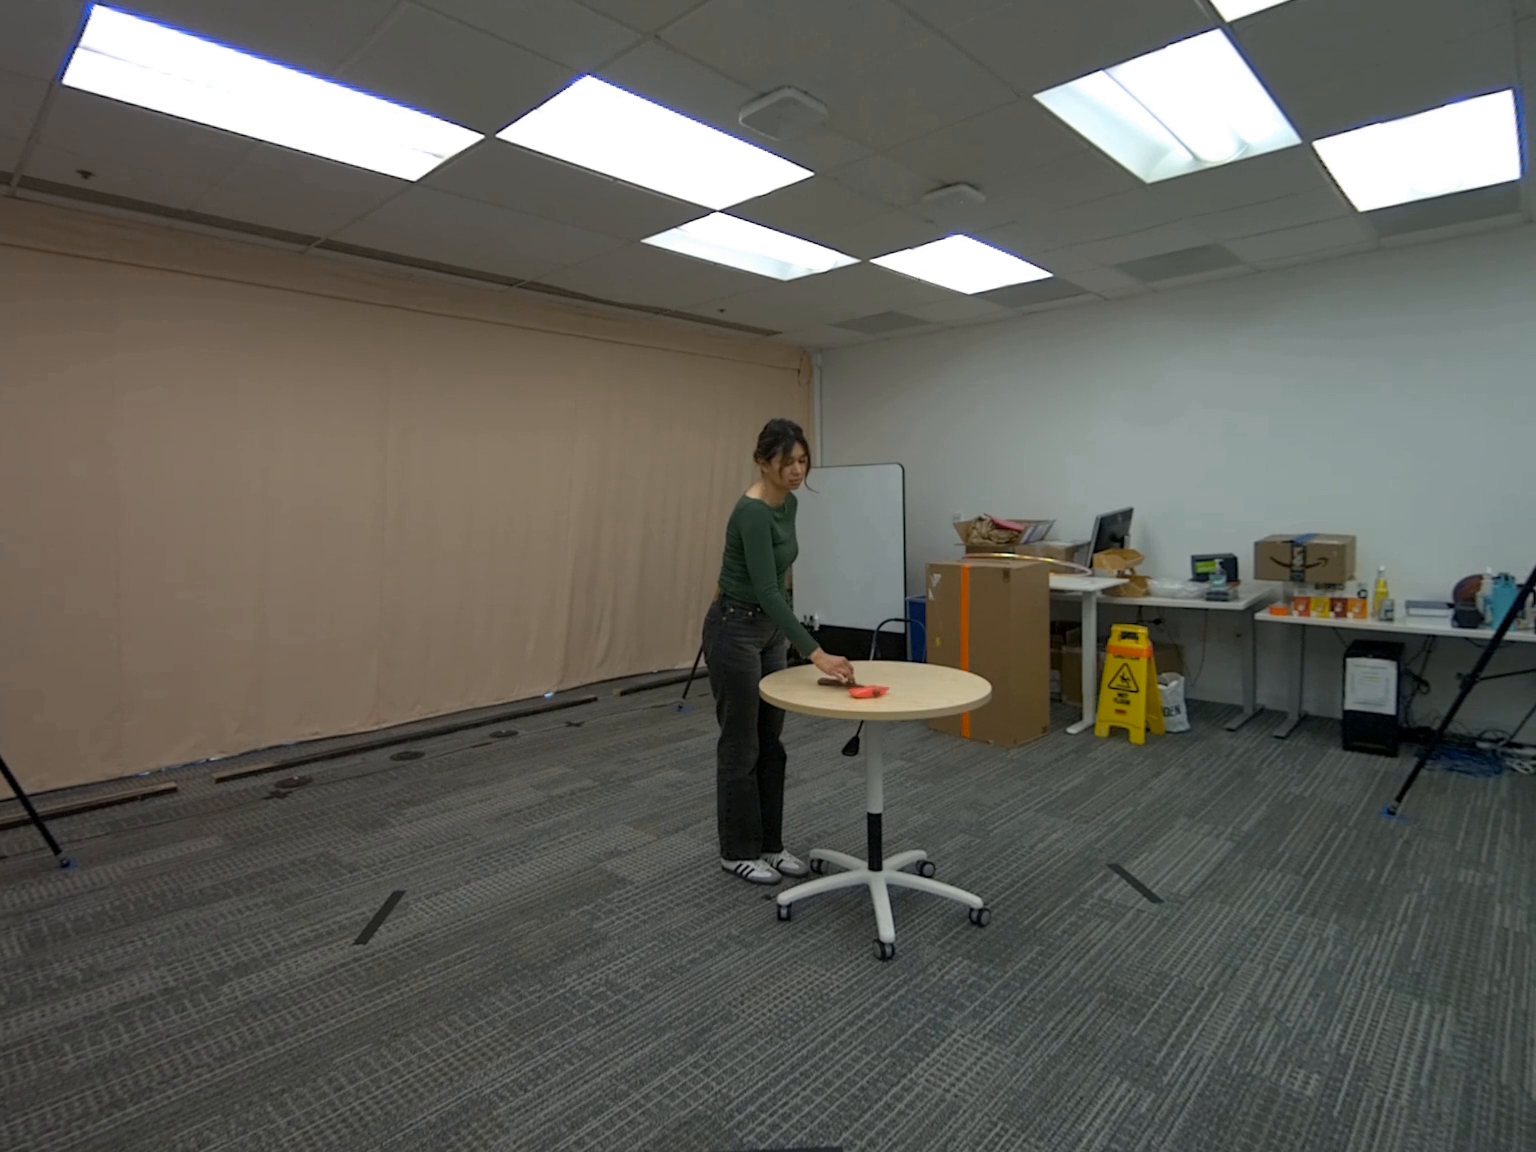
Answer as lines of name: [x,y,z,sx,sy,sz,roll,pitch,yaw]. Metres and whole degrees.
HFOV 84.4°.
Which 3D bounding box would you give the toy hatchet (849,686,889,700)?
toy hatchet: [0.251,0.364,2.726,0.279,0.029,0.127,1,8,43]
